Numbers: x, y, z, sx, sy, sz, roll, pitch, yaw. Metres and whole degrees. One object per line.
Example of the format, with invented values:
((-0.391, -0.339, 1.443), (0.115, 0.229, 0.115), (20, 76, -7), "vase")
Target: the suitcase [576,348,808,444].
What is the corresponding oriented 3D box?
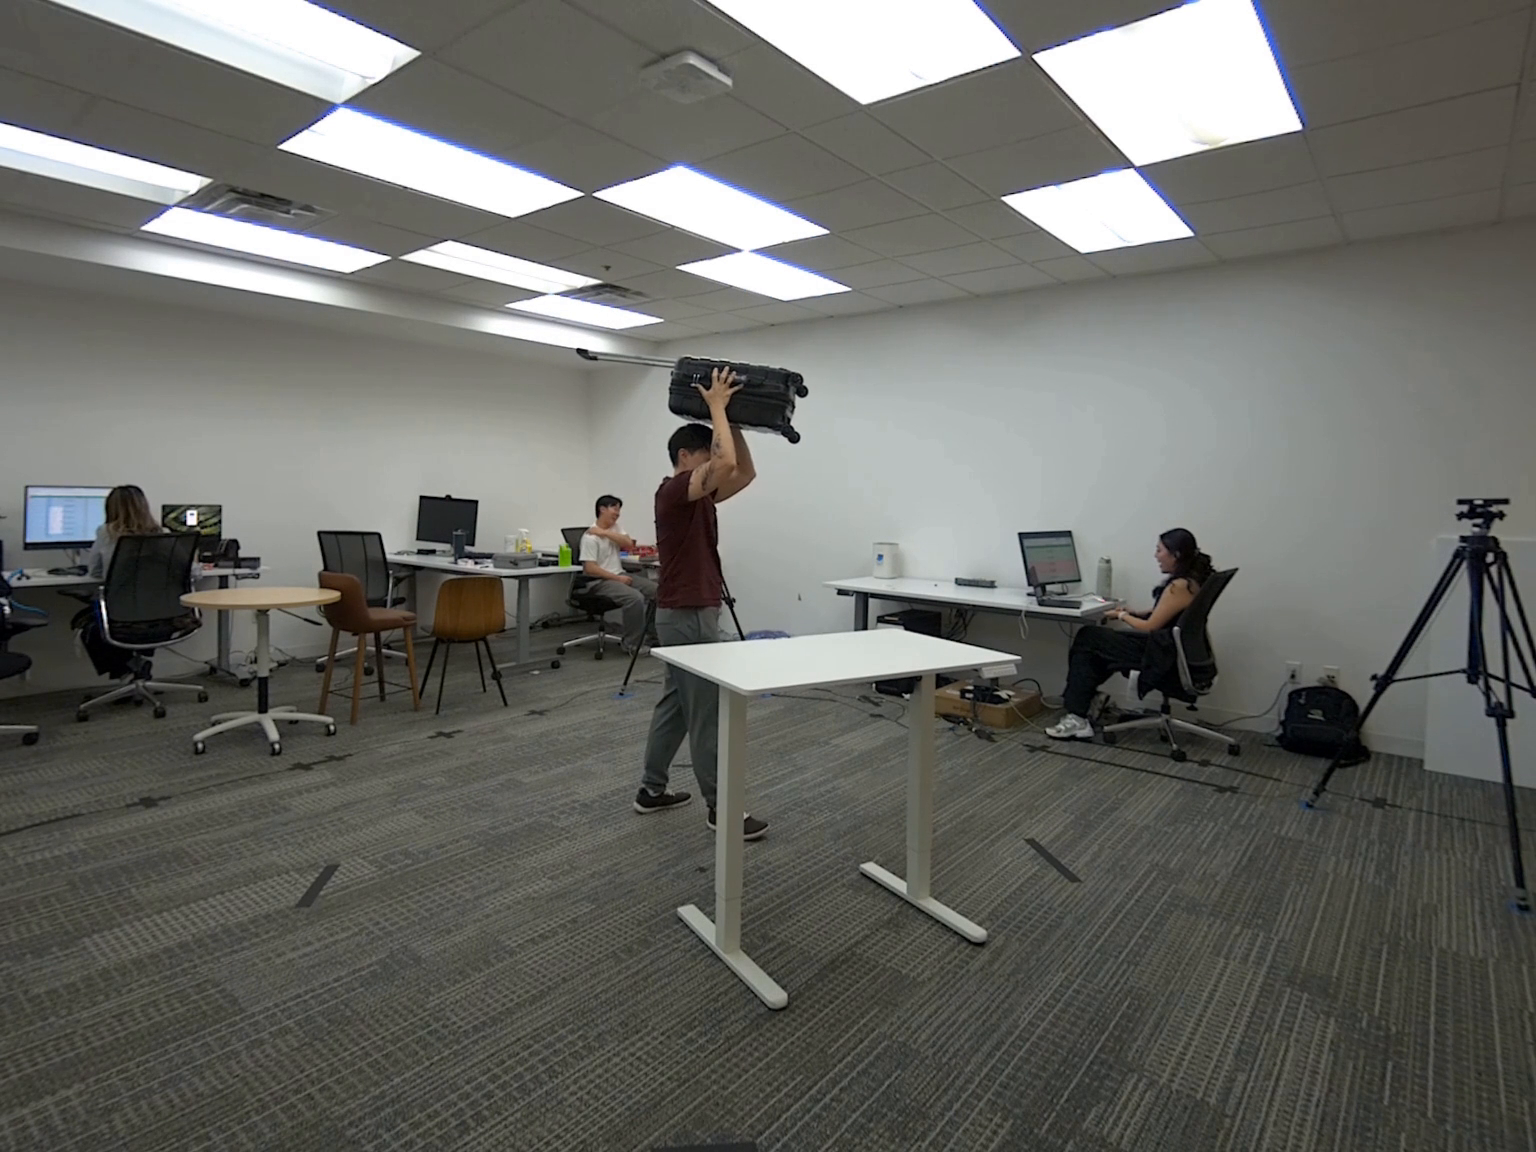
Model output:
((-0.343, -0.792, 3.595), (0.989, 0.256, 0.380), (9, 3, 9), "suitcase")
